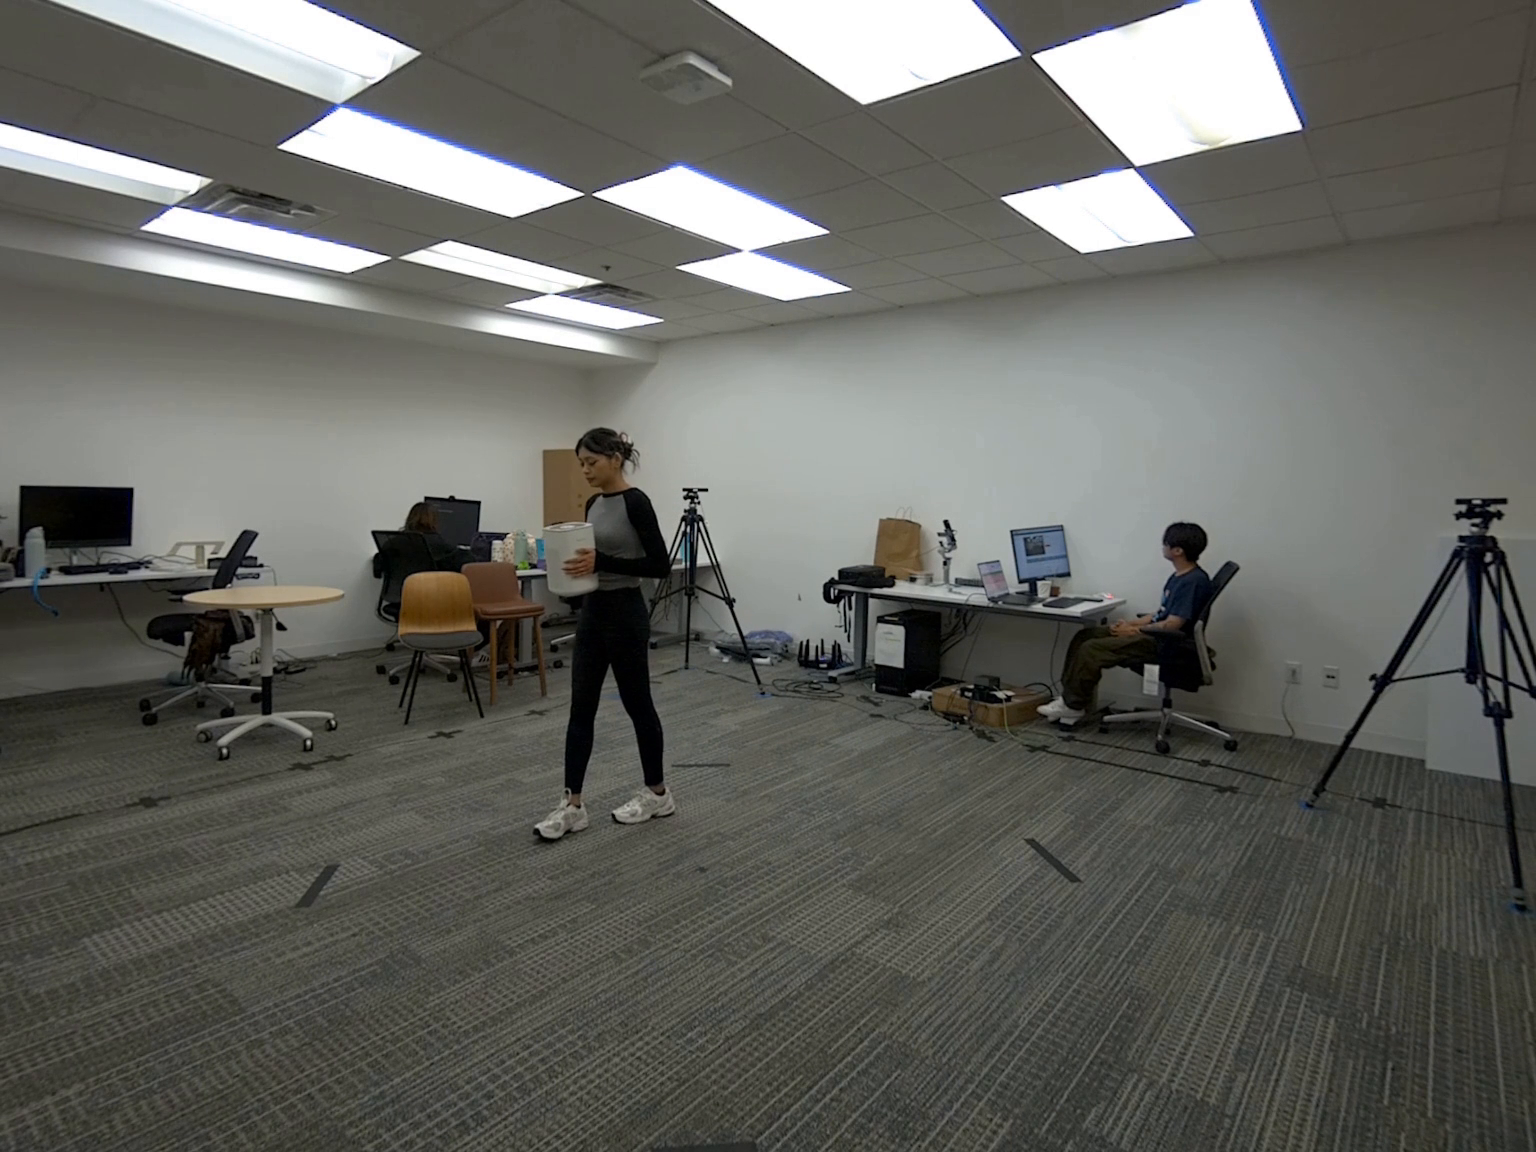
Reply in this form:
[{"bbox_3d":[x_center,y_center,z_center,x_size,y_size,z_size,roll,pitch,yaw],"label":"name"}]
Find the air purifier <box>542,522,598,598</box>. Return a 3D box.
[{"bbox_3d":[-0.790,-0.073,3.357,0.167,0.262,0.178,-13,14,-43],"label":"air purifier"}]
